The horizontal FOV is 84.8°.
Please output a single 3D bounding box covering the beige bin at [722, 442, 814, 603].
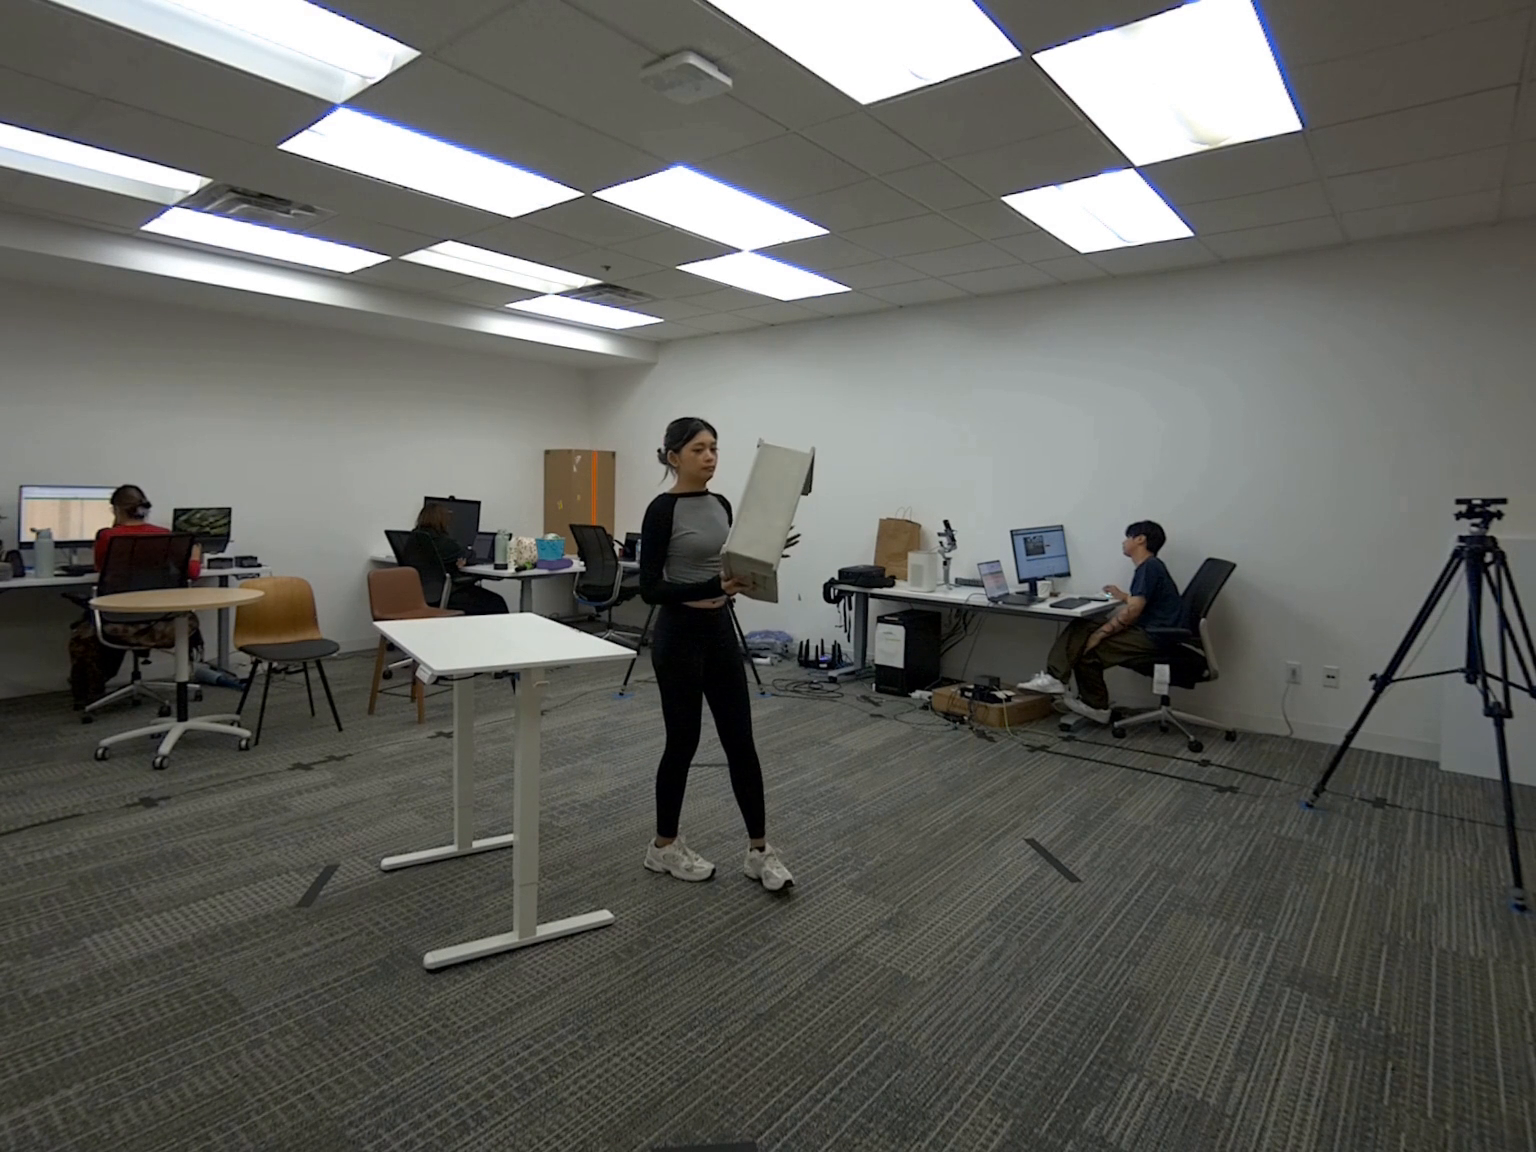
[{"bbox_3d":[-0.002,-0.170,2.754,0.191,0.426,0.370,17,-19,5],"label":"beige bin"}]
